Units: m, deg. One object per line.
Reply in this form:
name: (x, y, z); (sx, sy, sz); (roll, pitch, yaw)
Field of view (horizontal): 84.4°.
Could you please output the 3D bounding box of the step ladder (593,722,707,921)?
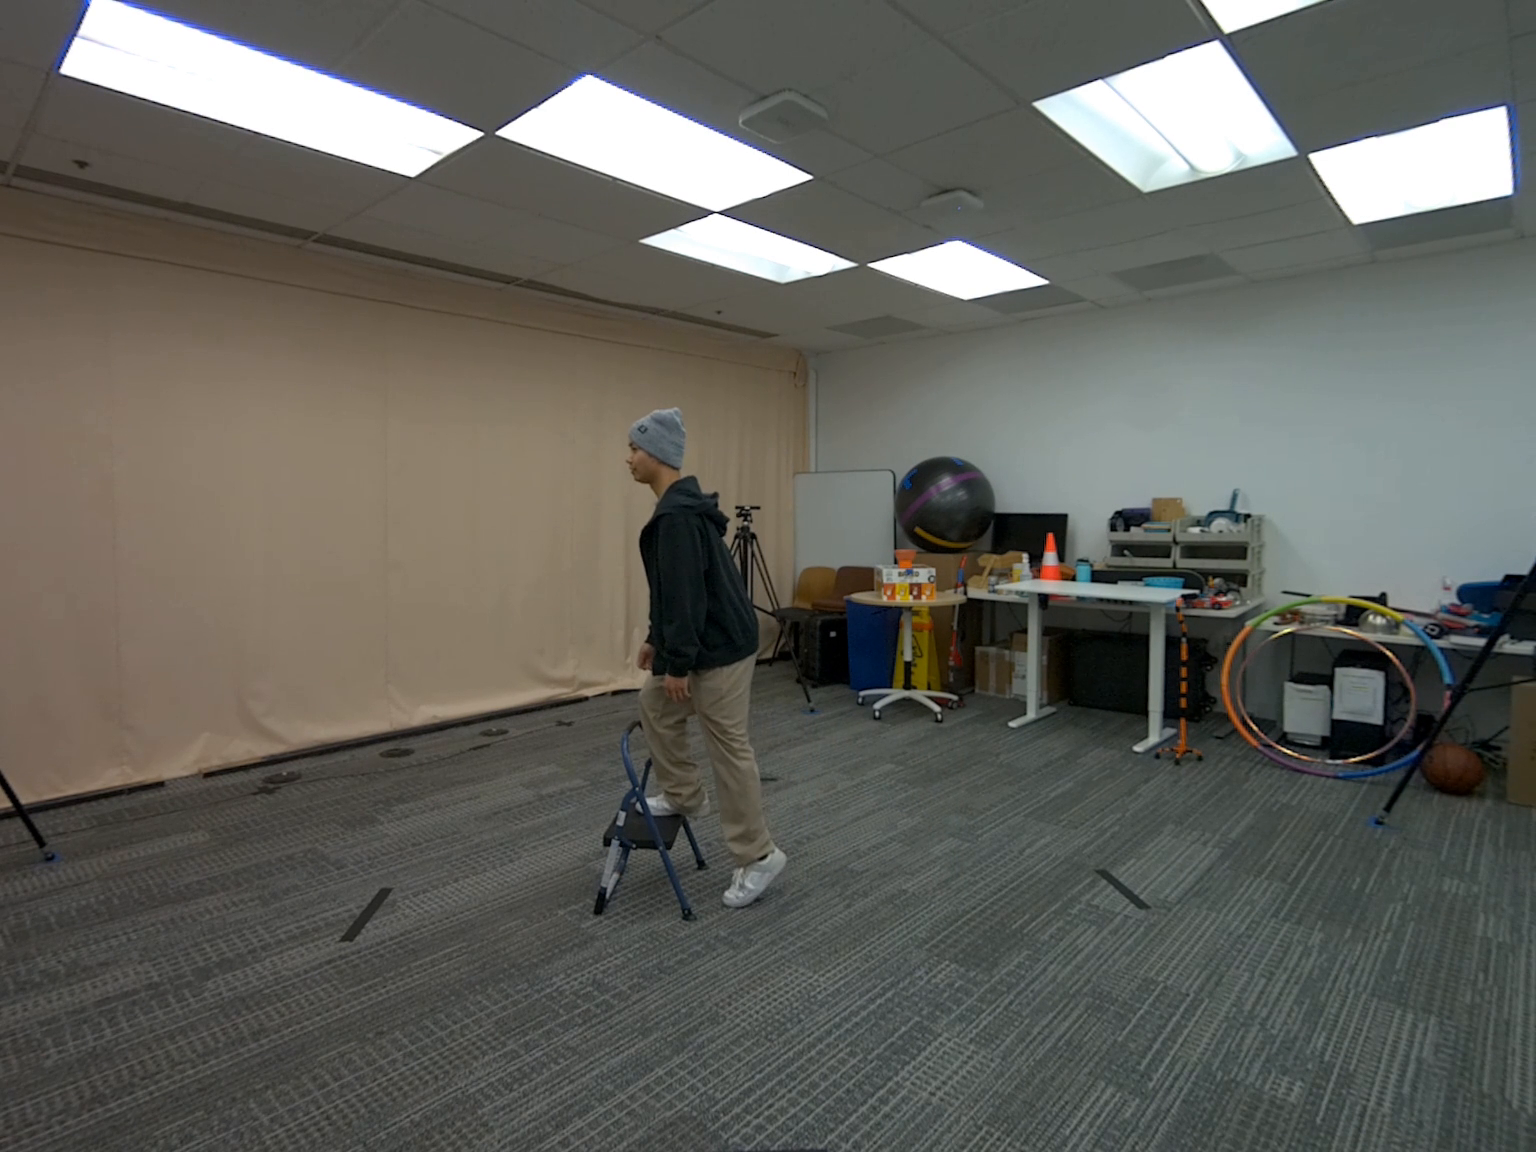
step ladder: (-0.417, 0.848, 3.041); (0.351, 0.605, 0.430); (0, 3, 3)
